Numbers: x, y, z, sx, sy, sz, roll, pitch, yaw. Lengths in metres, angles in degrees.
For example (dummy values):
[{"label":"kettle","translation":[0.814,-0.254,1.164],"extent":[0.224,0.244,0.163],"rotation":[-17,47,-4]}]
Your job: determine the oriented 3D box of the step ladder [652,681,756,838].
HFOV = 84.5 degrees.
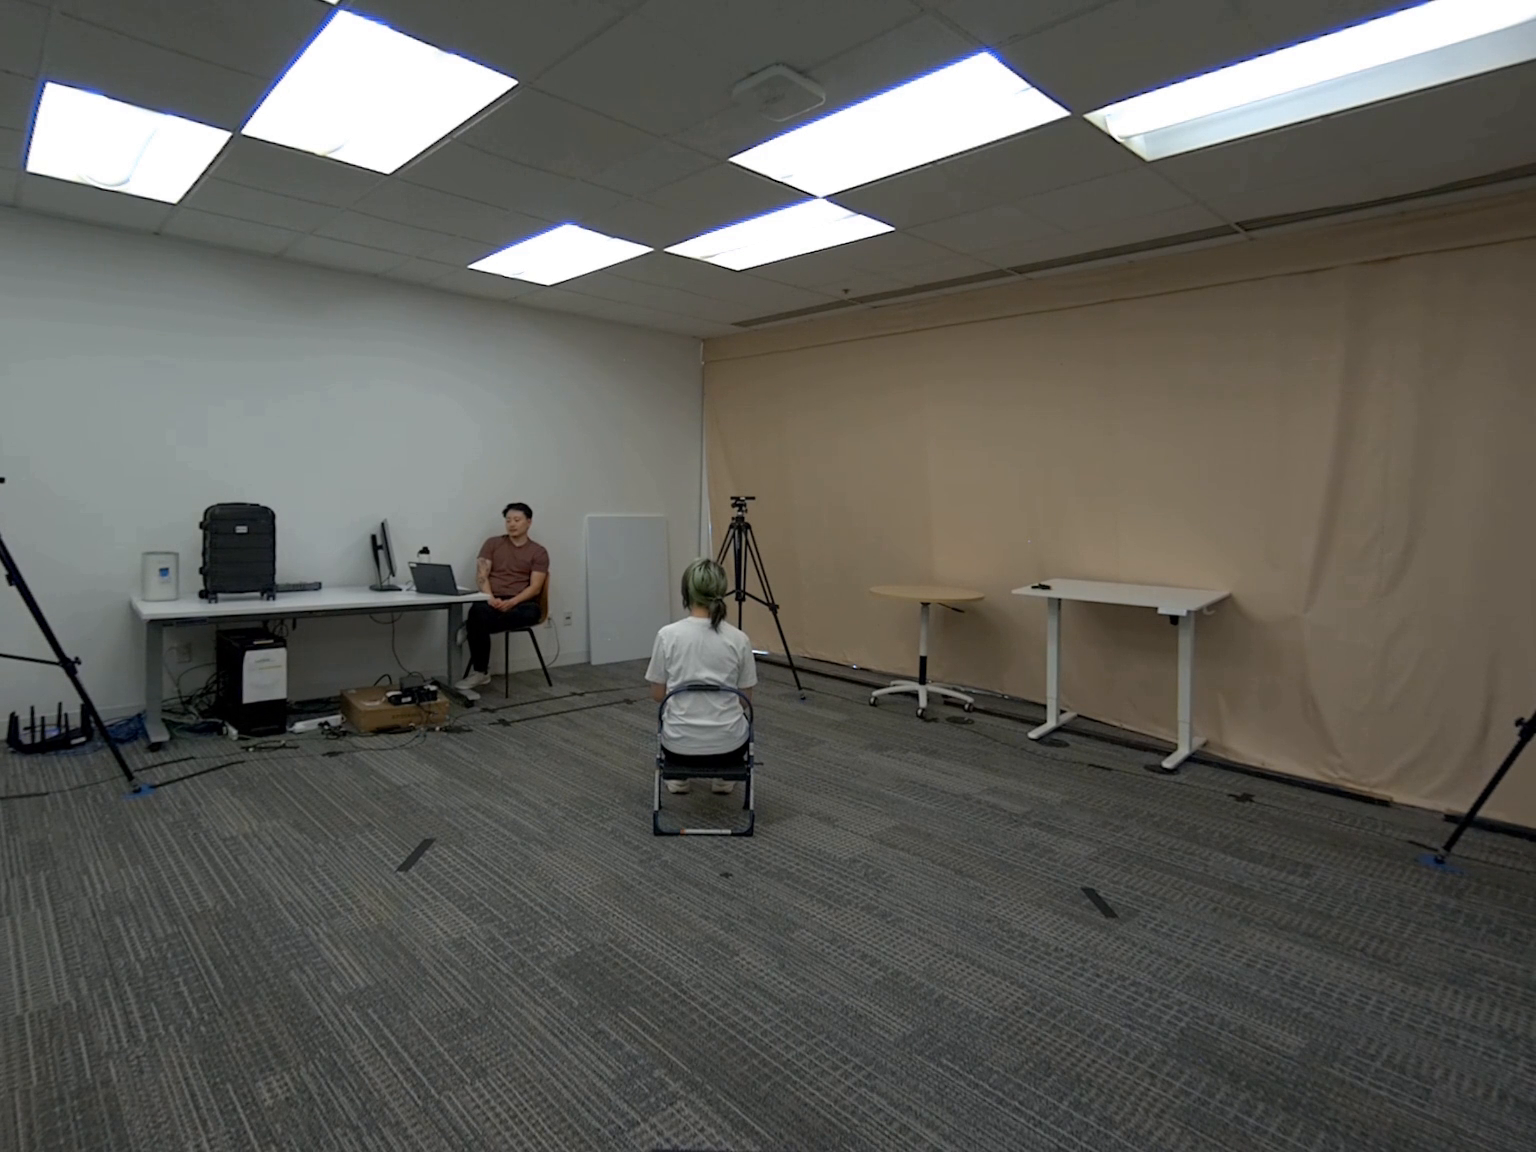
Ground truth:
[{"label":"step ladder","translation":[-0.285,0.762,3.613],"extent":[0.429,0.605,0.351],"rotation":[1,2,-4]}]
